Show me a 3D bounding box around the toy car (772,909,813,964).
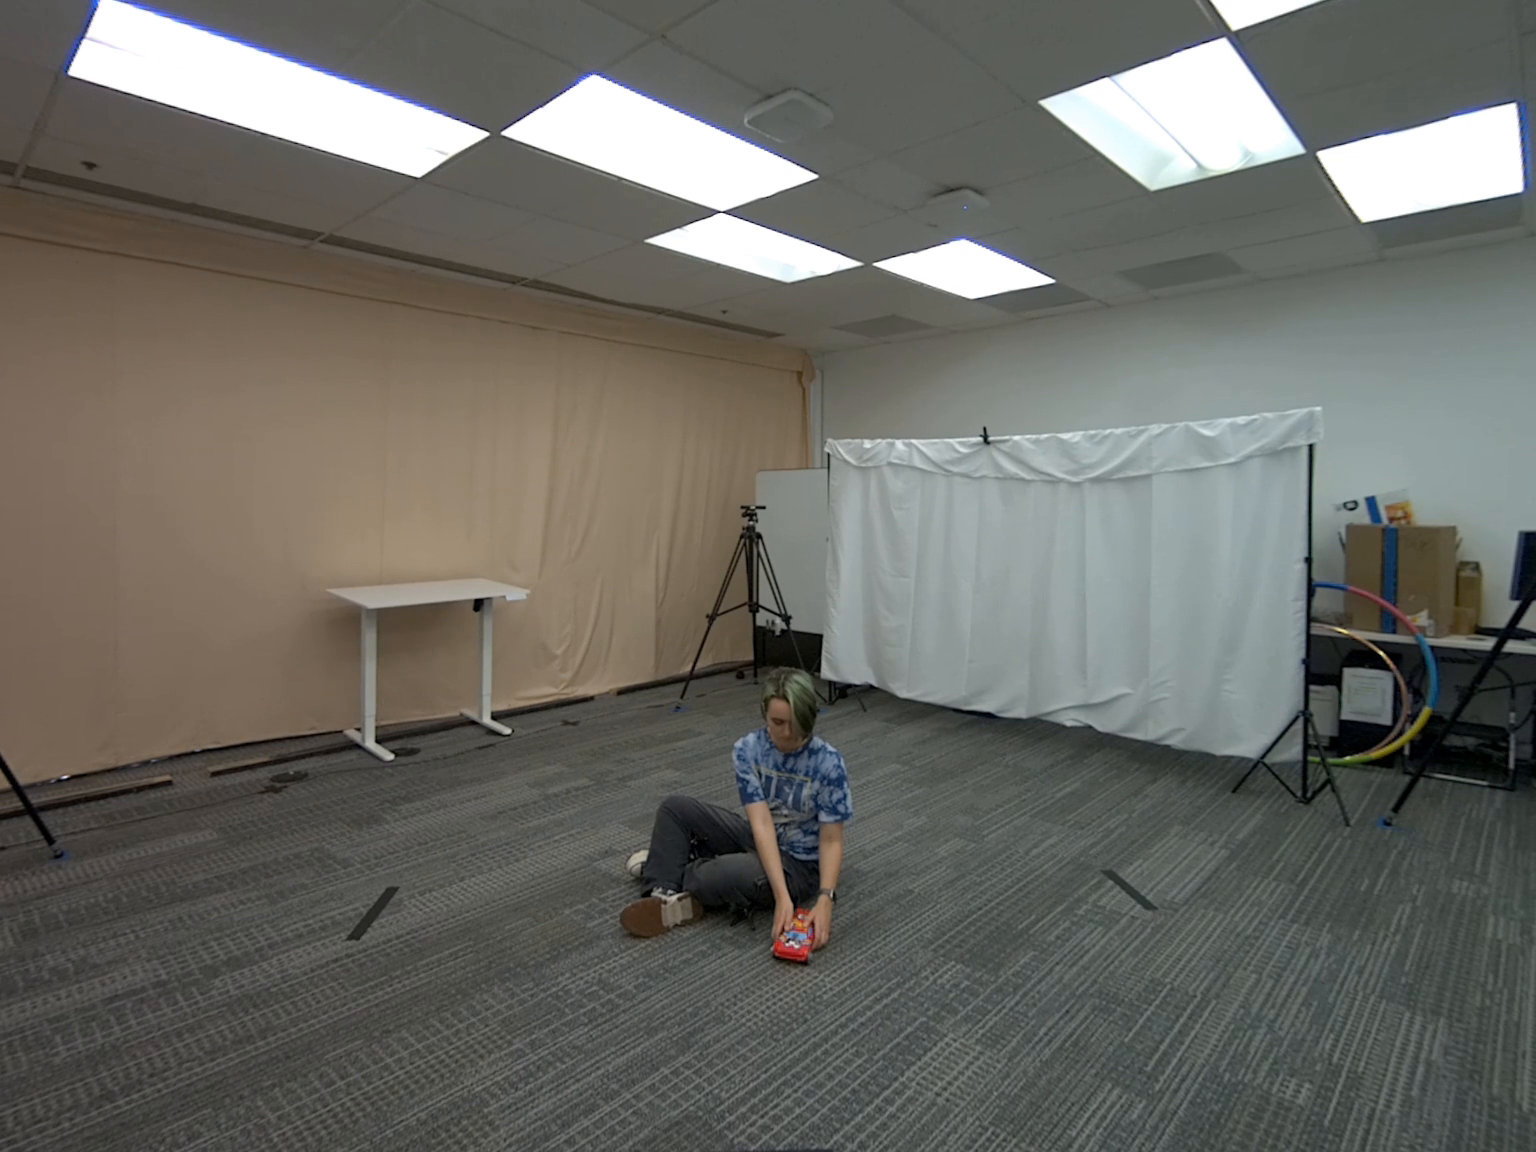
[{"bbox_3d":[0.102,1.137,2.661,0.133,0.082,0.252,1,14,17],"label":"toy car"}]
